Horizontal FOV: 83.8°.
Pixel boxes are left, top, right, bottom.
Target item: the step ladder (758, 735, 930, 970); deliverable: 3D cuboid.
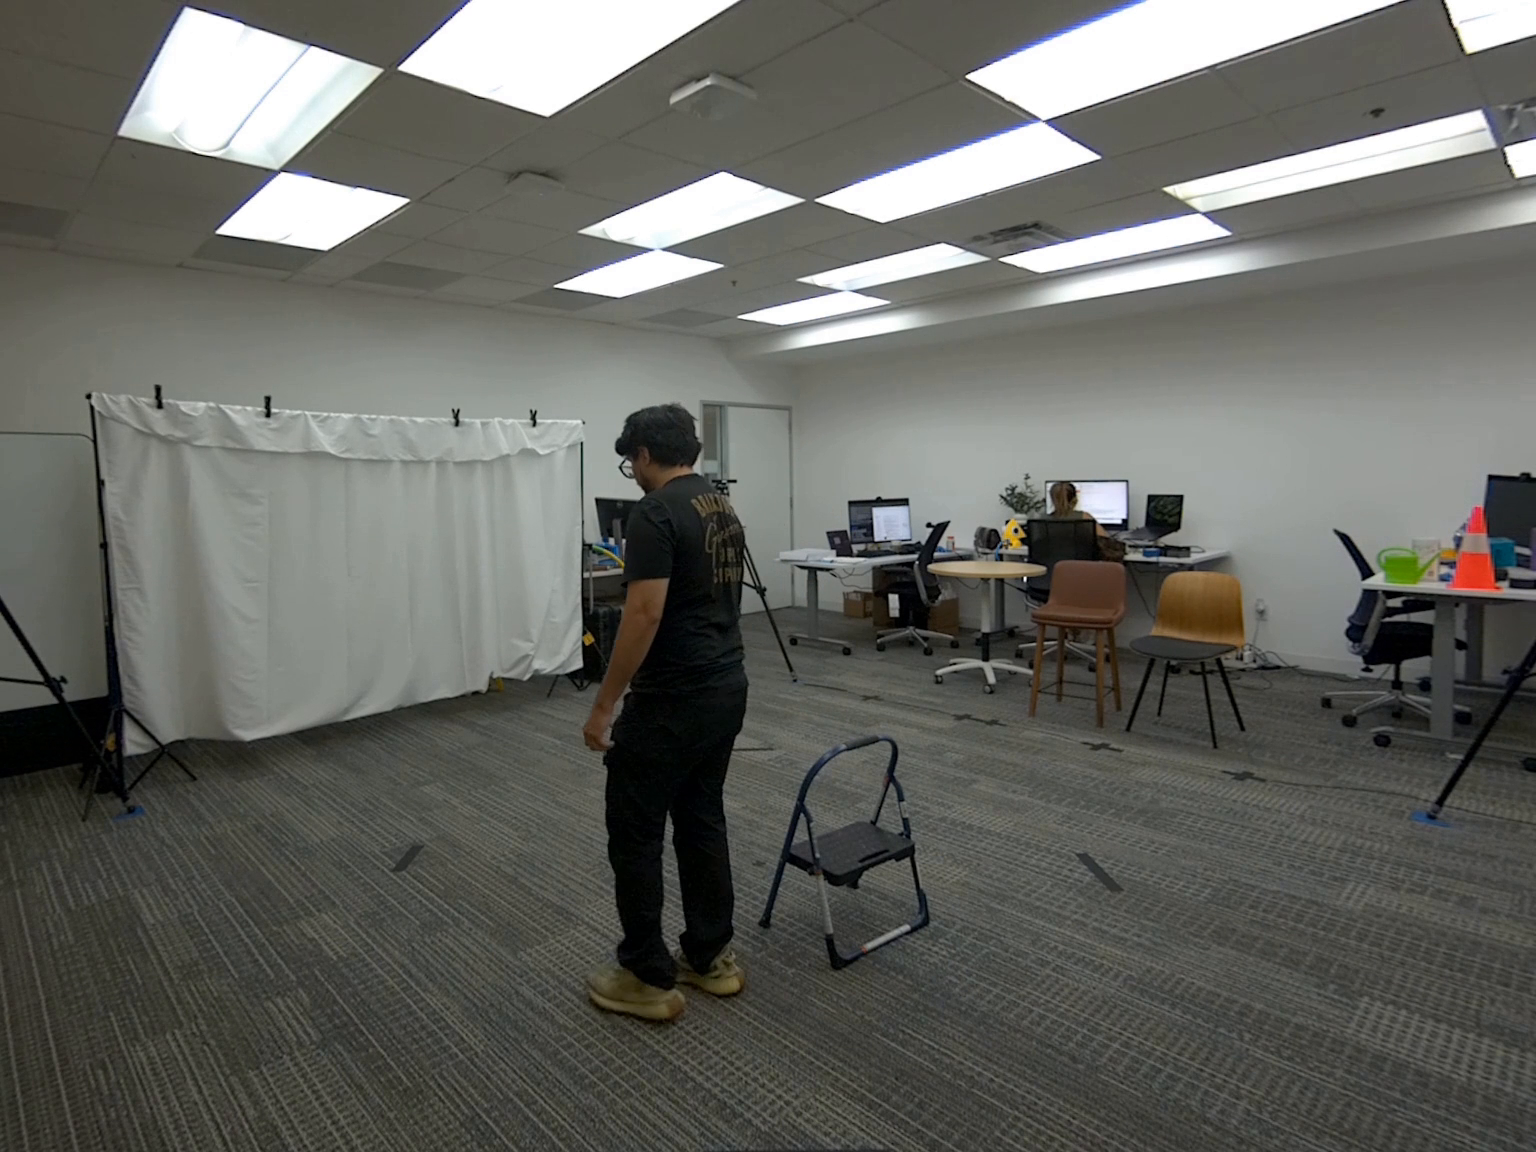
[{"bbox_3d":[0.239,0.791,2.662,0.419,0.604,0.360,-5,5,-39],"label":"step ladder"}]
